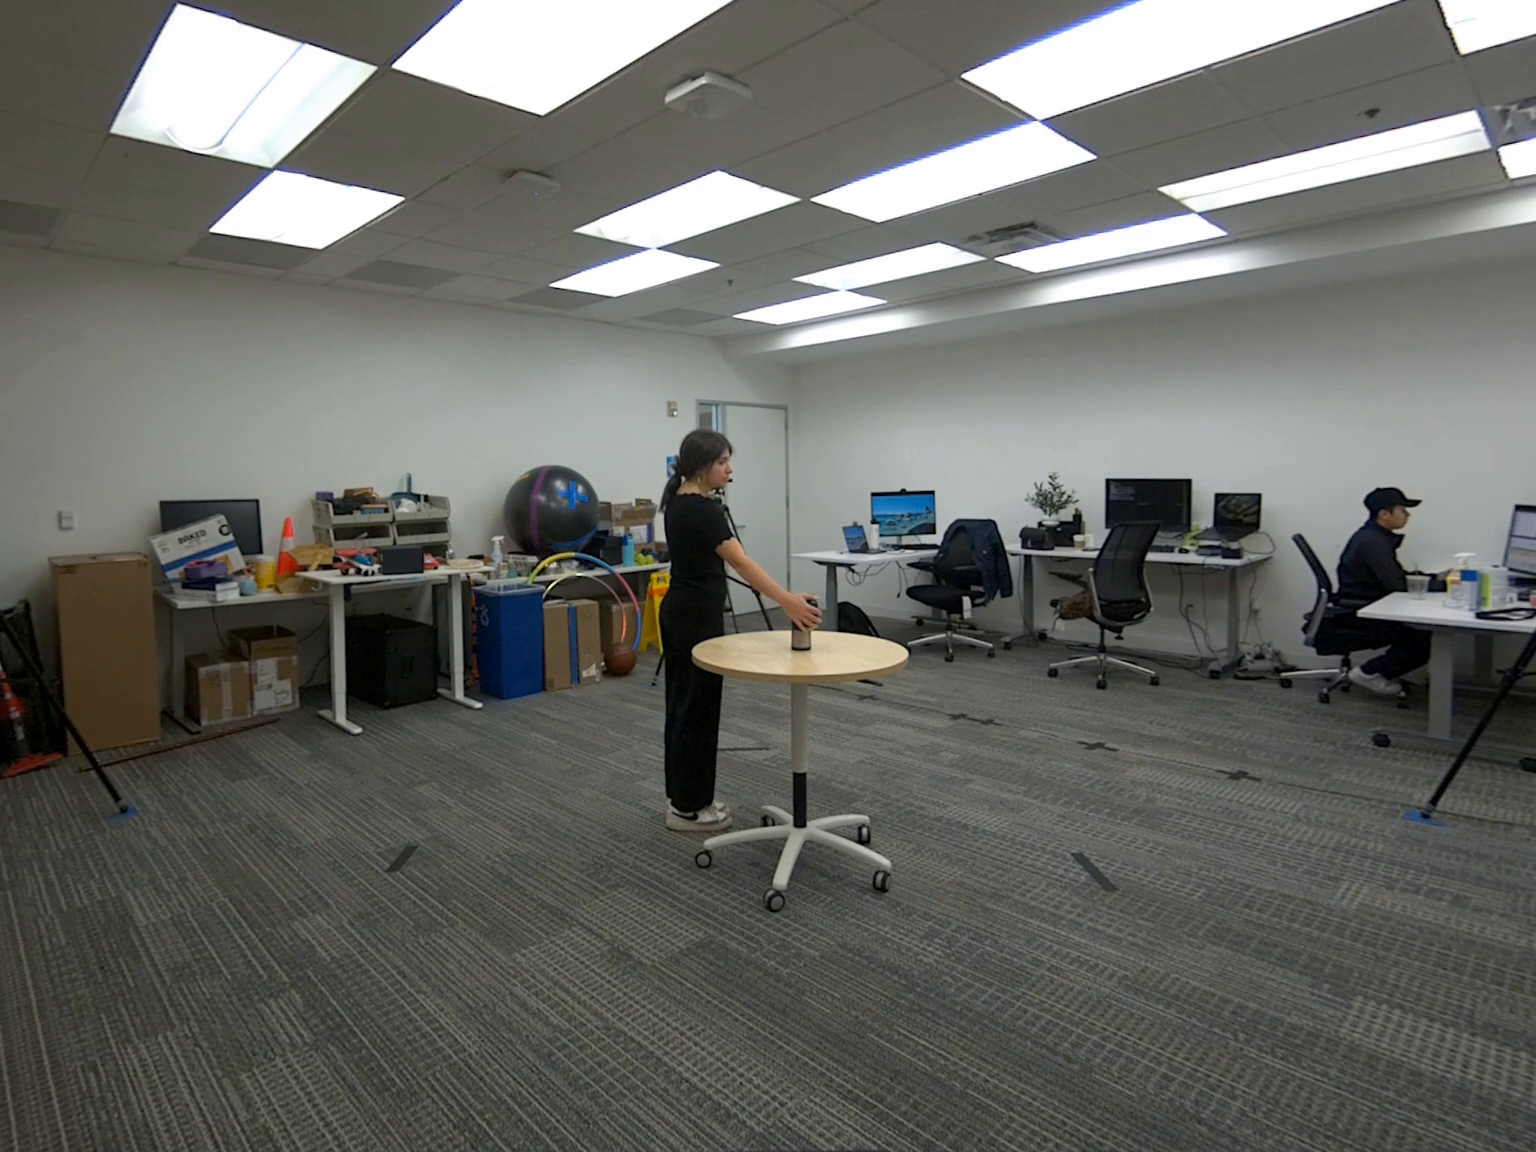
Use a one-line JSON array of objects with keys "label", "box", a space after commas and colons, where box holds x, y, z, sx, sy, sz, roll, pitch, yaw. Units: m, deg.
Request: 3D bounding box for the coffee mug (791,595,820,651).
[{"label": "coffee mug", "box": [0.113, 0.168, 3.041, 0.090, 0.202, 0.119, 6, 3, 30]}]
